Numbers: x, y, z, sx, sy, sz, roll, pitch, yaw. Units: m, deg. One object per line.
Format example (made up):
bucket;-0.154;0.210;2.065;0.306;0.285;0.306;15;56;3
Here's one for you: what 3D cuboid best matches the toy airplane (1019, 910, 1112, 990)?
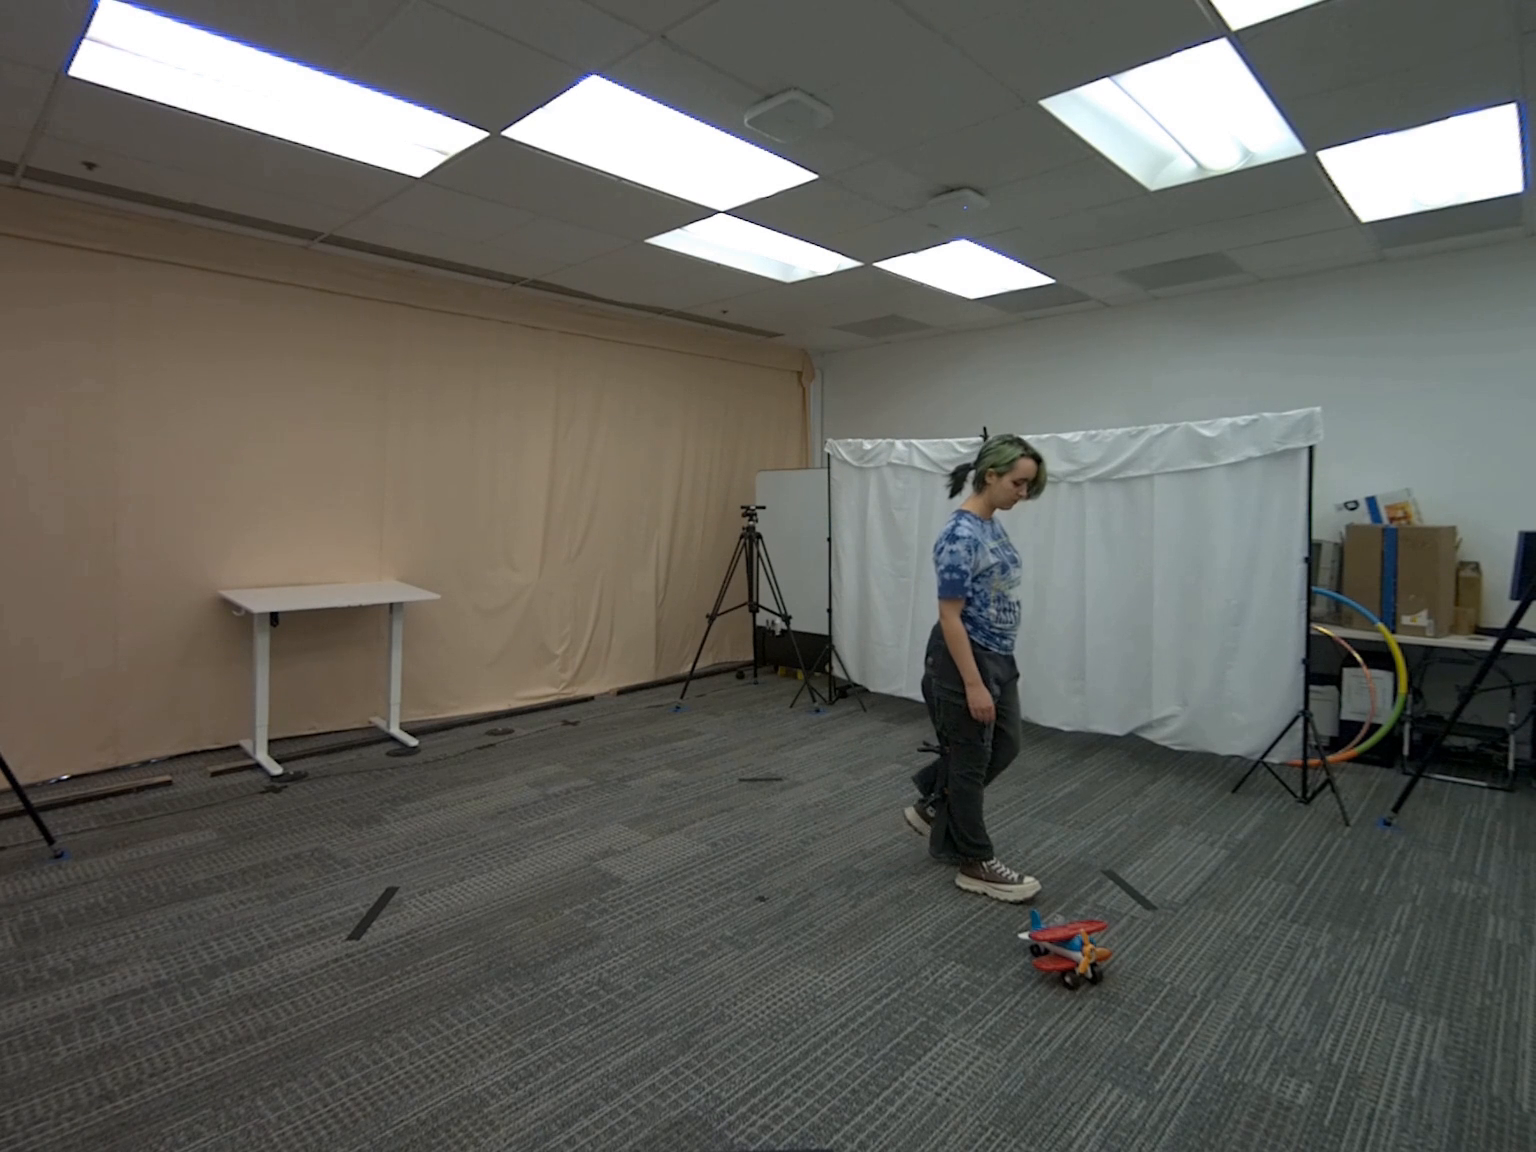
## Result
toy airplane;0.866;1.104;2.515;0.268;0.156;0.243;5;7;42
